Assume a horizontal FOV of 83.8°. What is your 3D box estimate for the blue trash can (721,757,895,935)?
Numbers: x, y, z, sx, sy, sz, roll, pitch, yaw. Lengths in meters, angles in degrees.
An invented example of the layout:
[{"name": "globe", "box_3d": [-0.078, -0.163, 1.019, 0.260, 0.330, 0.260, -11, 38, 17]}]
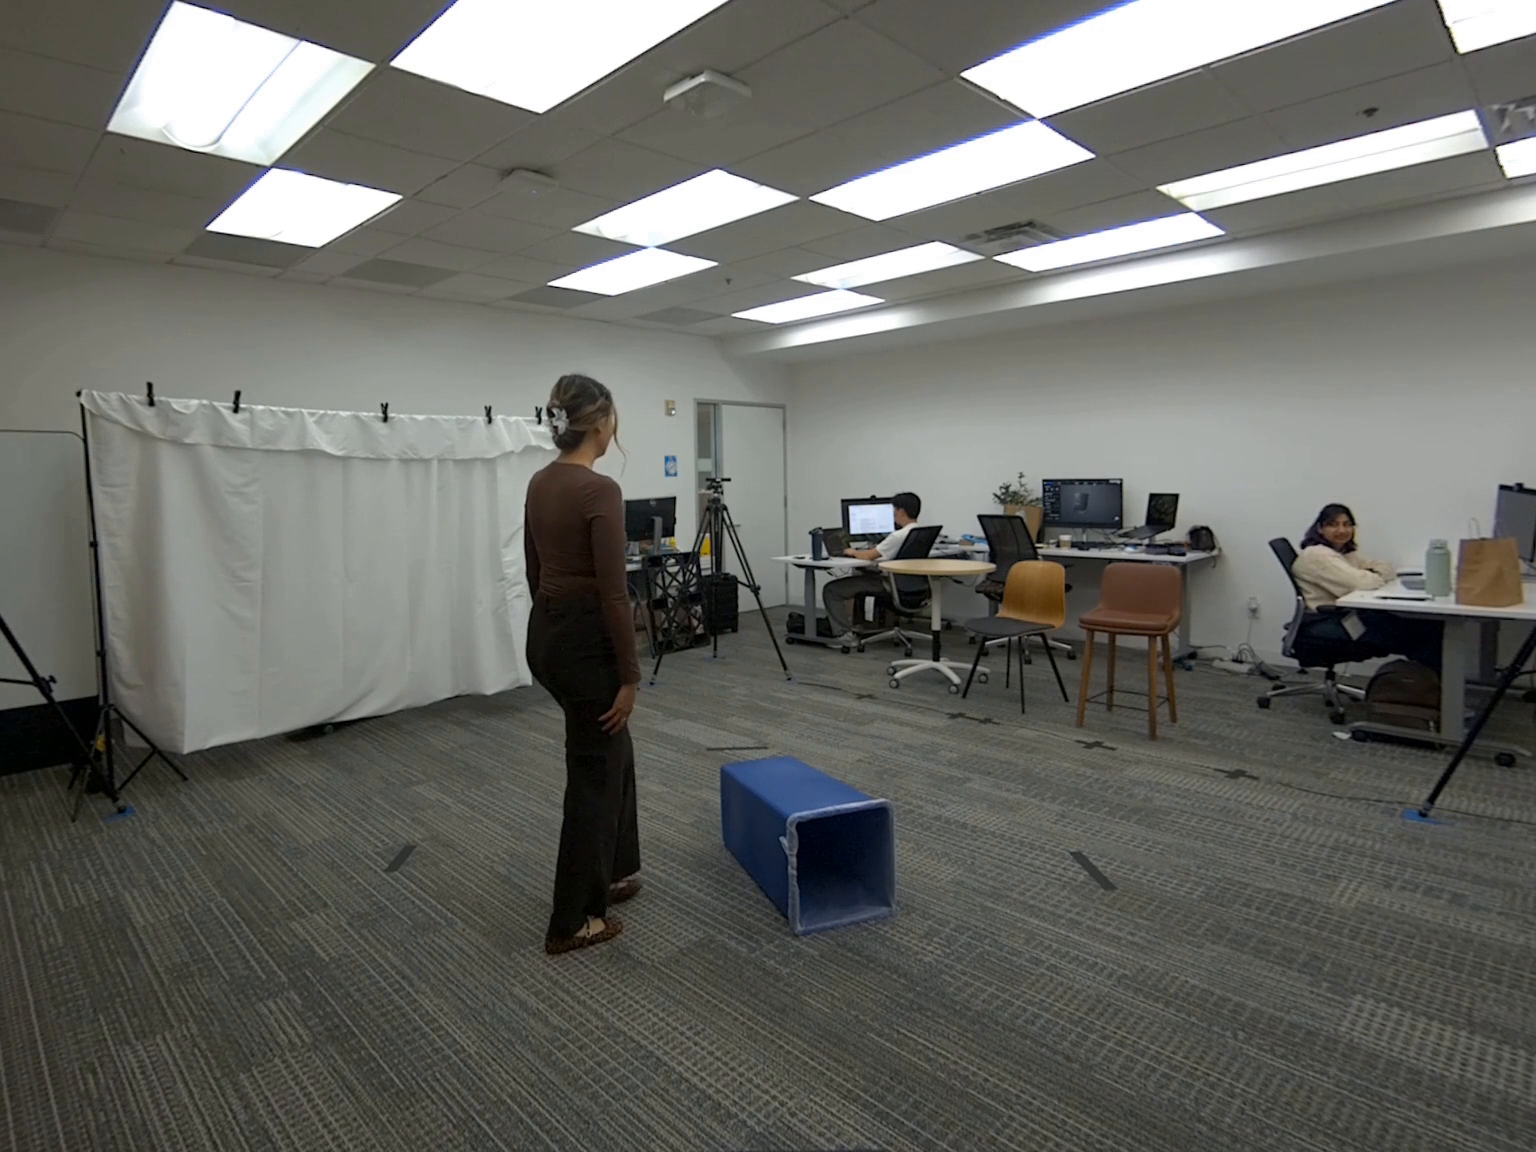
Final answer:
[{"name": "blue trash can", "box_3d": [0.108, 0.881, 2.992, 0.367, 0.377, 0.729, -4, 5, -22]}]
